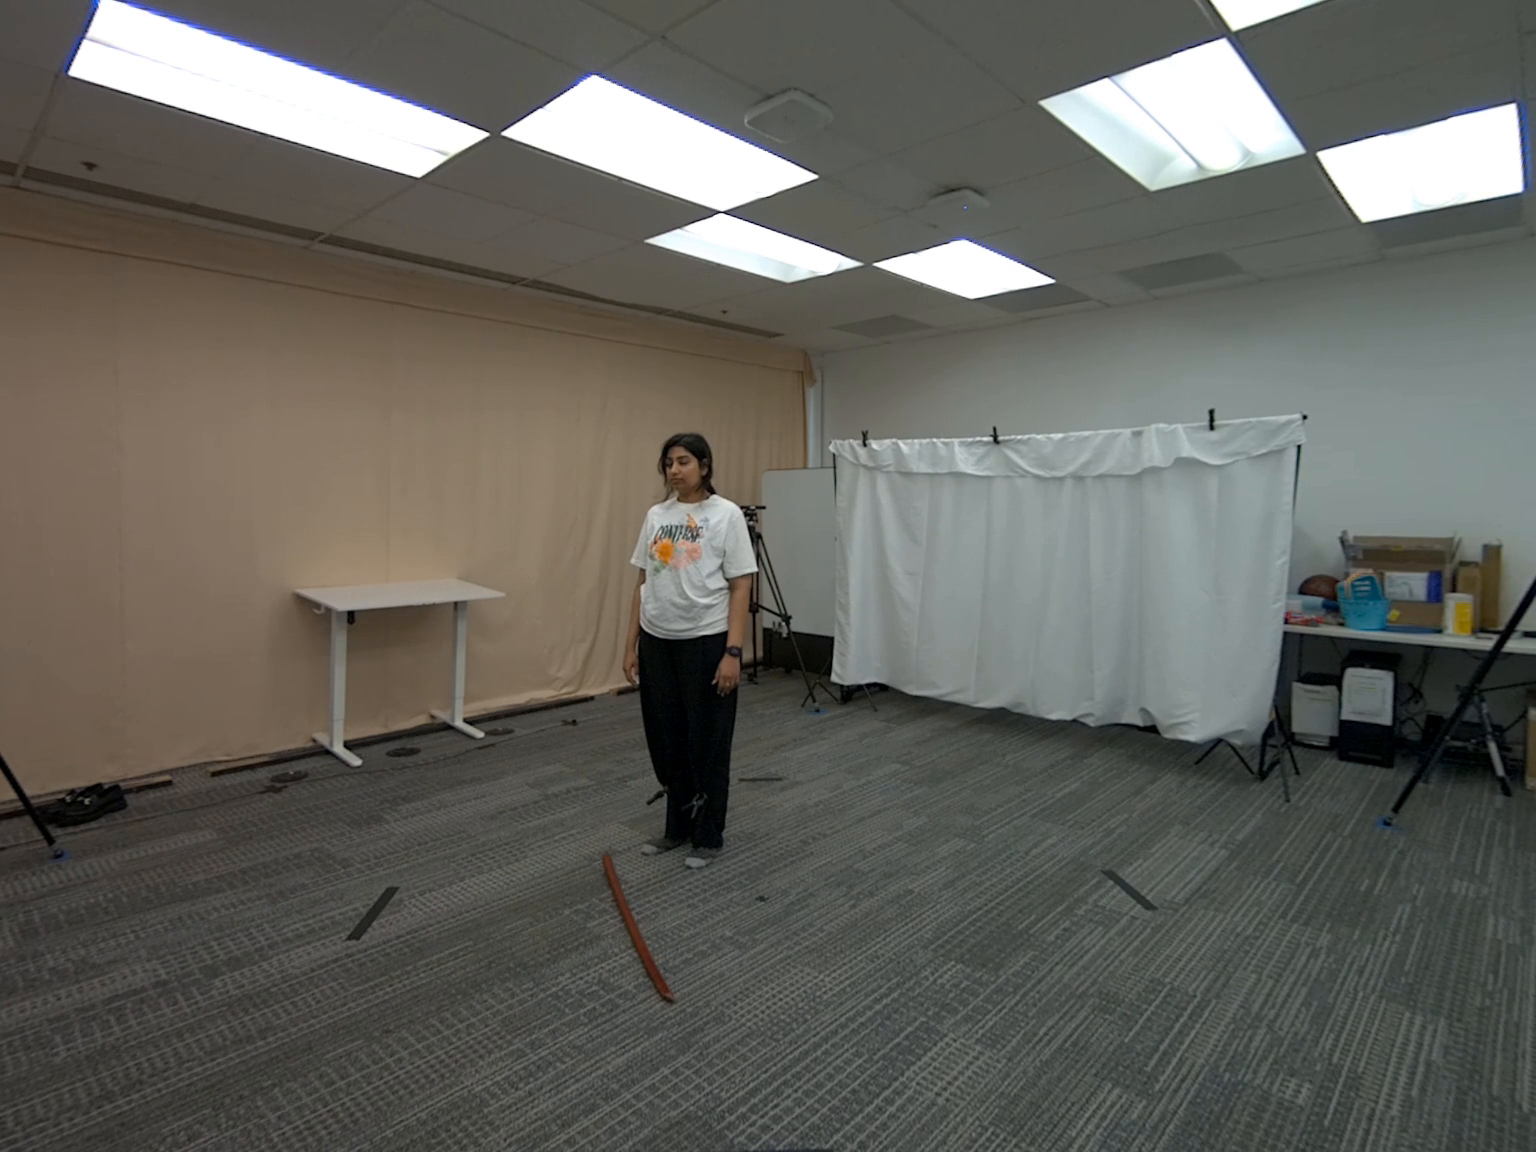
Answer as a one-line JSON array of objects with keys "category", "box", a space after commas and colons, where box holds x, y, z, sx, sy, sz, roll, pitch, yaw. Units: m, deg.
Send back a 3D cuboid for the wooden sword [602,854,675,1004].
[{"category": "wooden sword", "box": [-0.450, 1.136, 2.838, 0.050, 0.024, 1.047, 5, 3, -20]}]
